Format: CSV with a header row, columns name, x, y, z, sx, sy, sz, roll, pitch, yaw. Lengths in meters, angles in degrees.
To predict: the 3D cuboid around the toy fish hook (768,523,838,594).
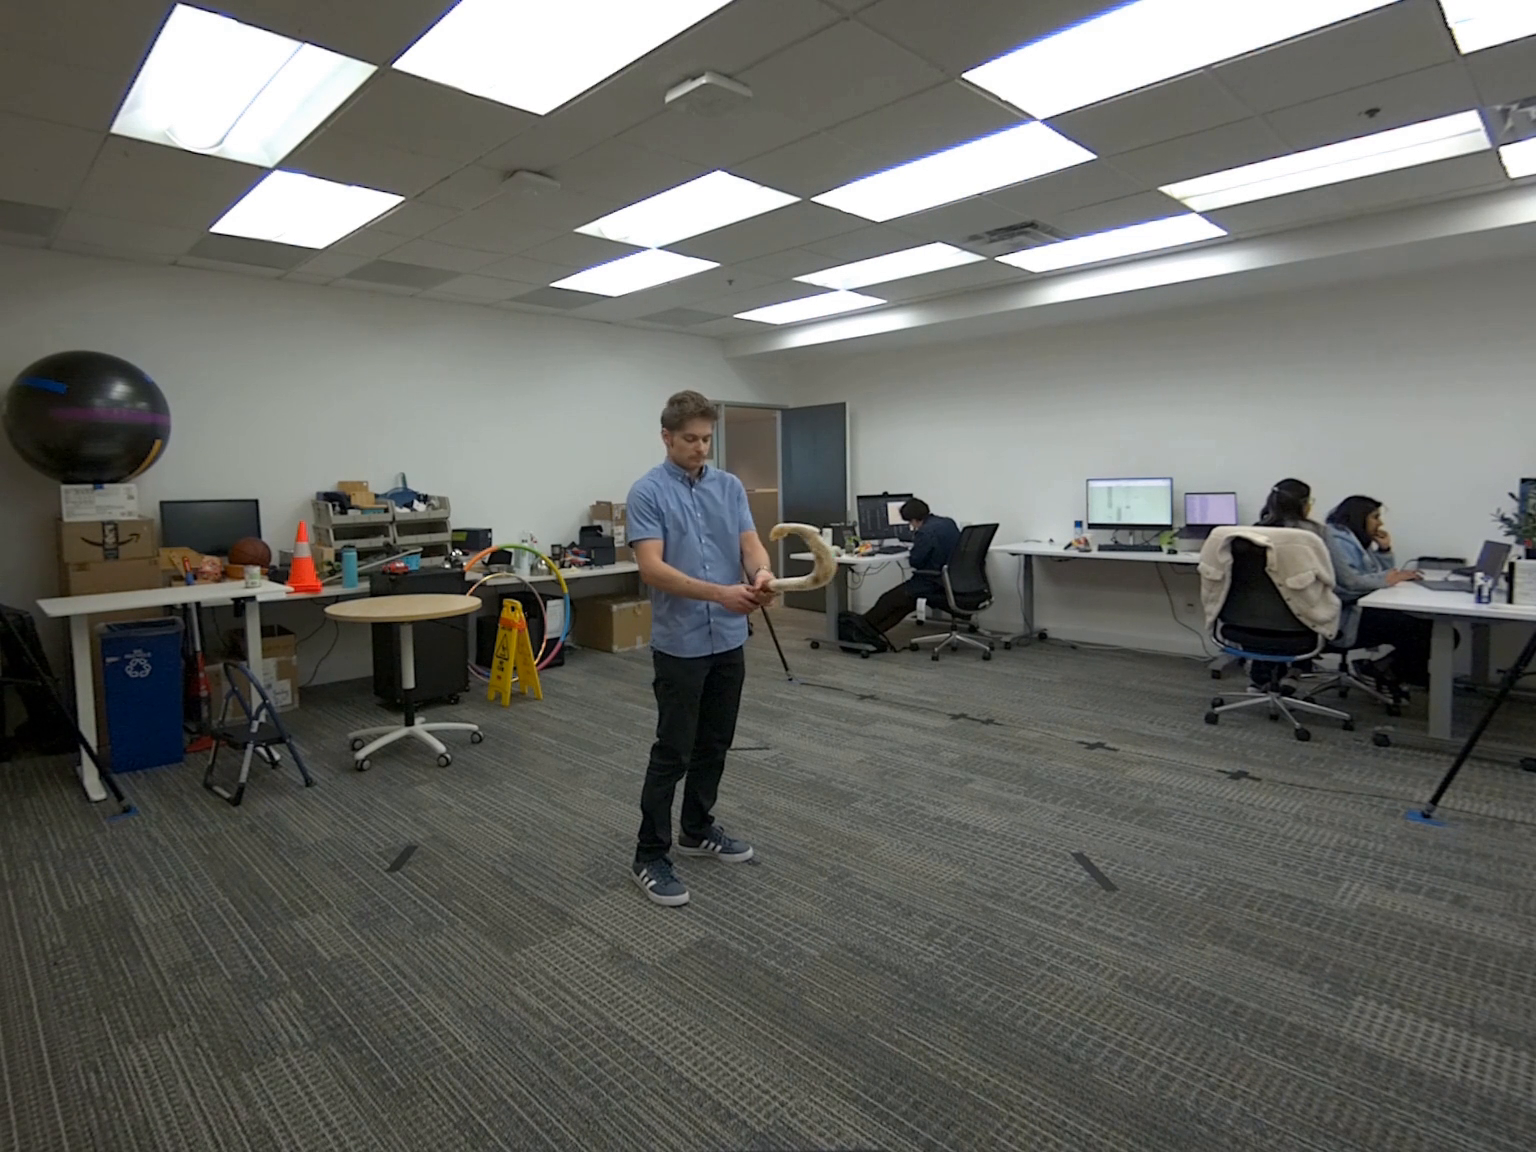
name,x,y,z,sx,sy,sz,roll,pitch,yaw
toy fish hook,0.020,-0.022,2.680,0.047,0.225,0.513,-25,-2,-41
